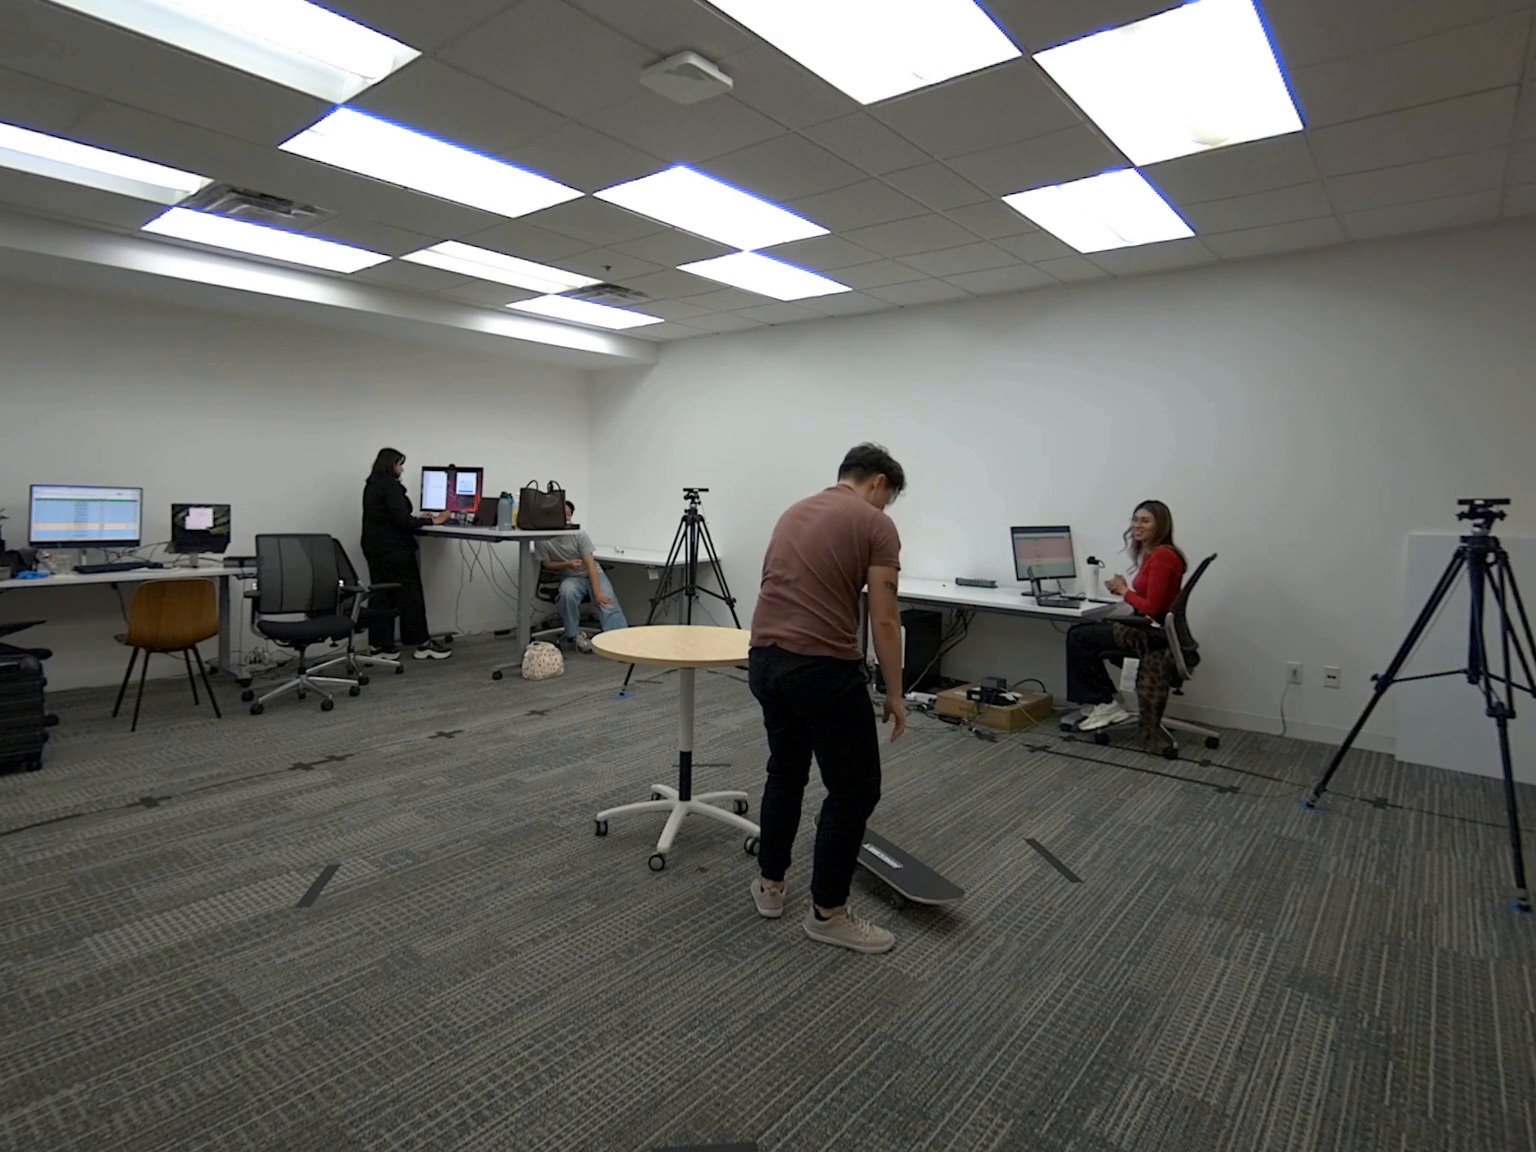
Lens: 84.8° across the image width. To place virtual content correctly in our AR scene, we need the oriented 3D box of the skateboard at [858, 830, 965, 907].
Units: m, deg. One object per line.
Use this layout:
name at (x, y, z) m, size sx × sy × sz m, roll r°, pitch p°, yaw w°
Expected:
skateboard at (0.388, 1.024, 3.053) m, size 0.189 × 0.110 × 0.807 m, roll -1°, pitch 6°, yaw -25°
